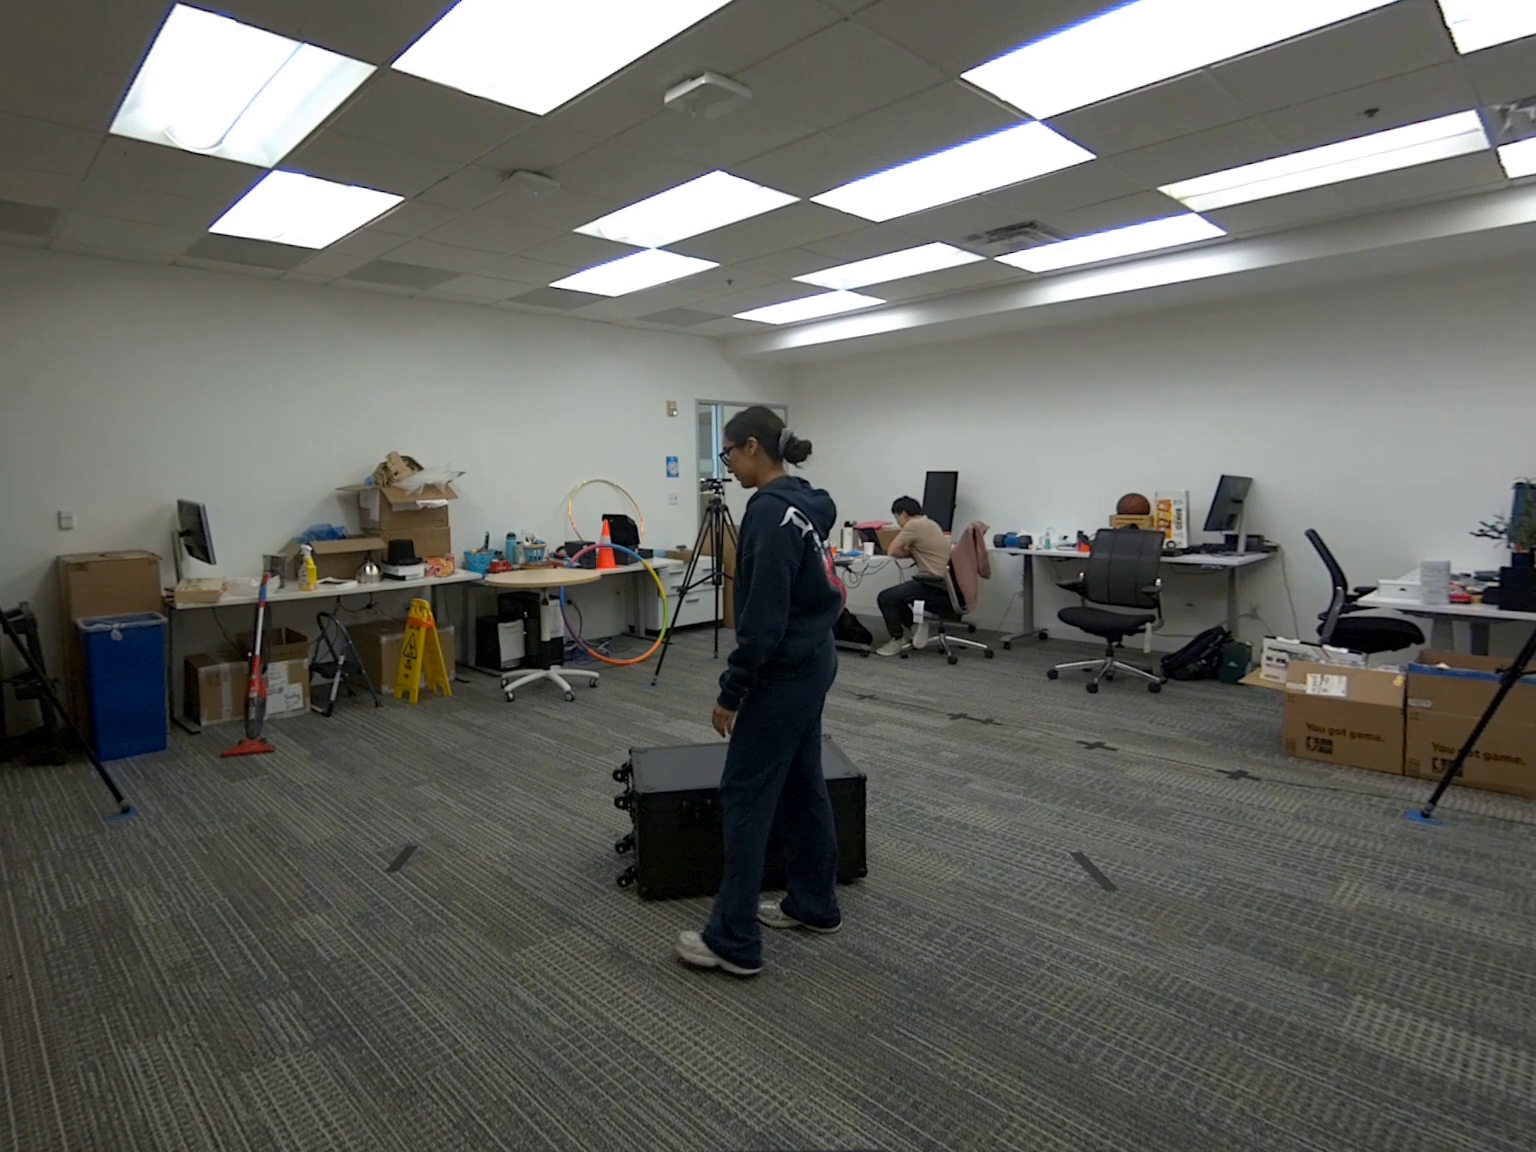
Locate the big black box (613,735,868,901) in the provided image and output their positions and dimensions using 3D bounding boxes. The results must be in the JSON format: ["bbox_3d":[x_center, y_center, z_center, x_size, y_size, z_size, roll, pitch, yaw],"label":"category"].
[{"bbox_3d":[-0.129,0.853,3.096,0.854,0.394,0.528,-2,6,-10],"label":"big black box"}]
